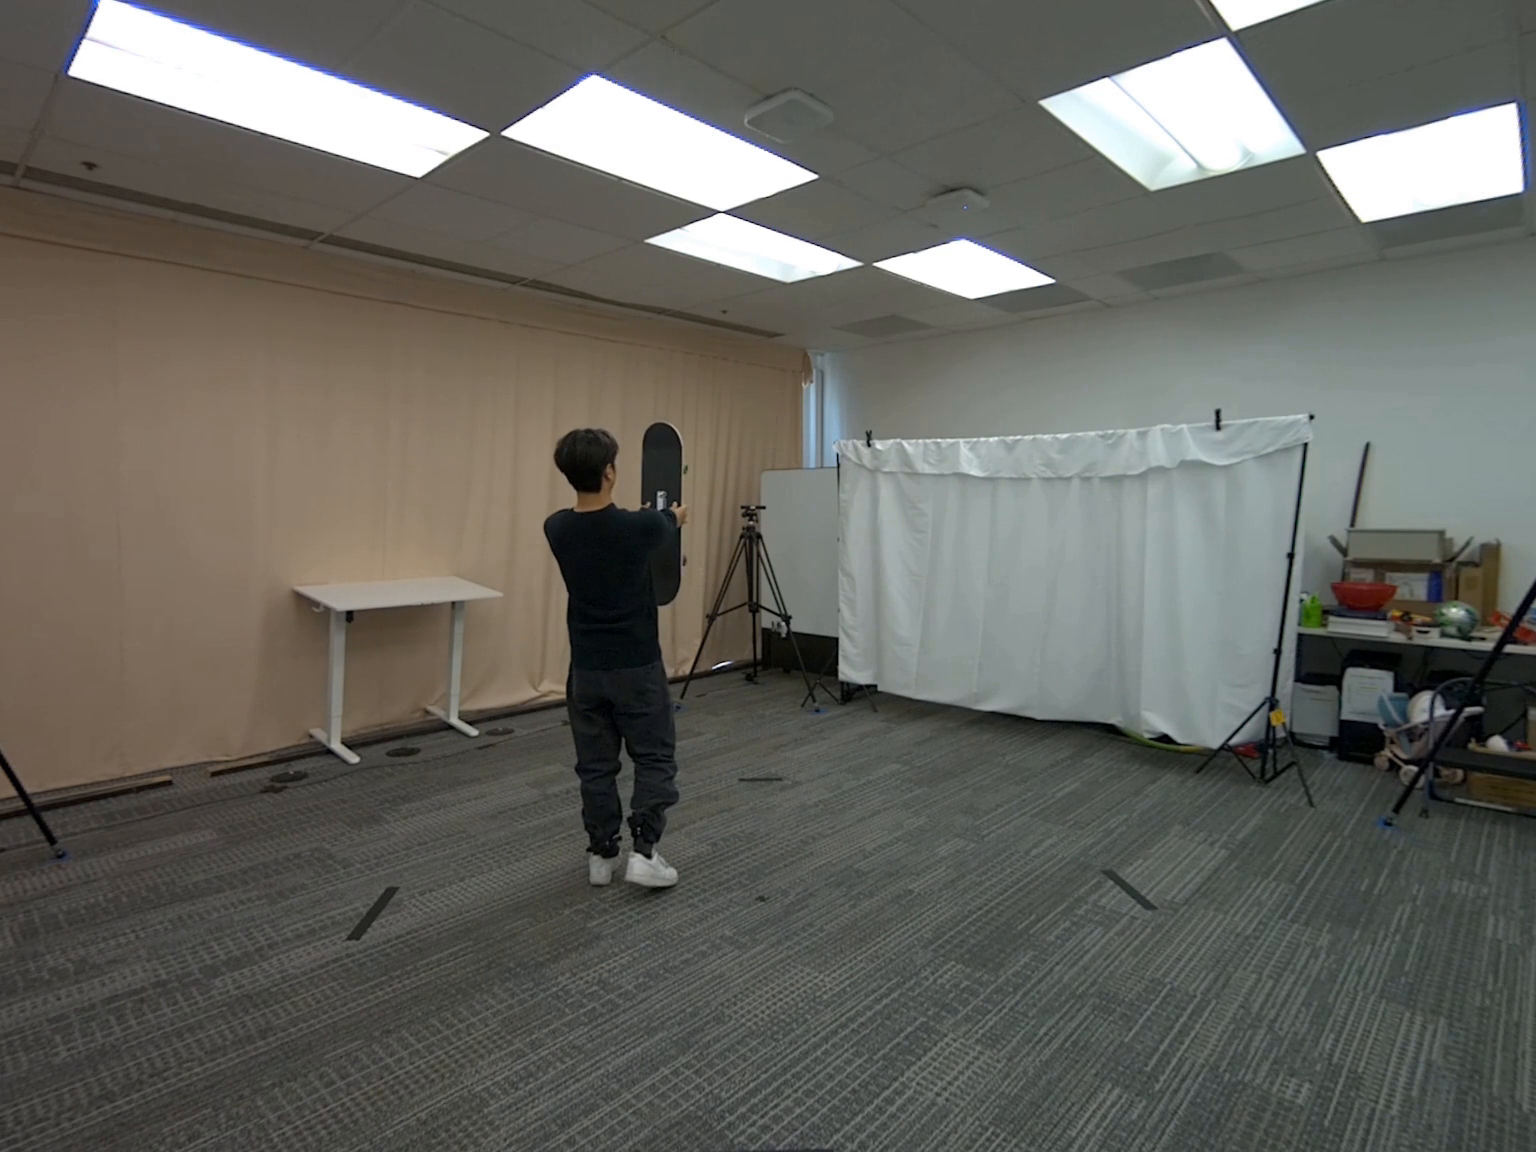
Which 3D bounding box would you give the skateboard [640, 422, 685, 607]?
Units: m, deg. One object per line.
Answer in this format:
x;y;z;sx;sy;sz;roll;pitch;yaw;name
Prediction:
-0.449;-0.265;3.662;0.197;0.784;0.108;2;3;19;skateboard
